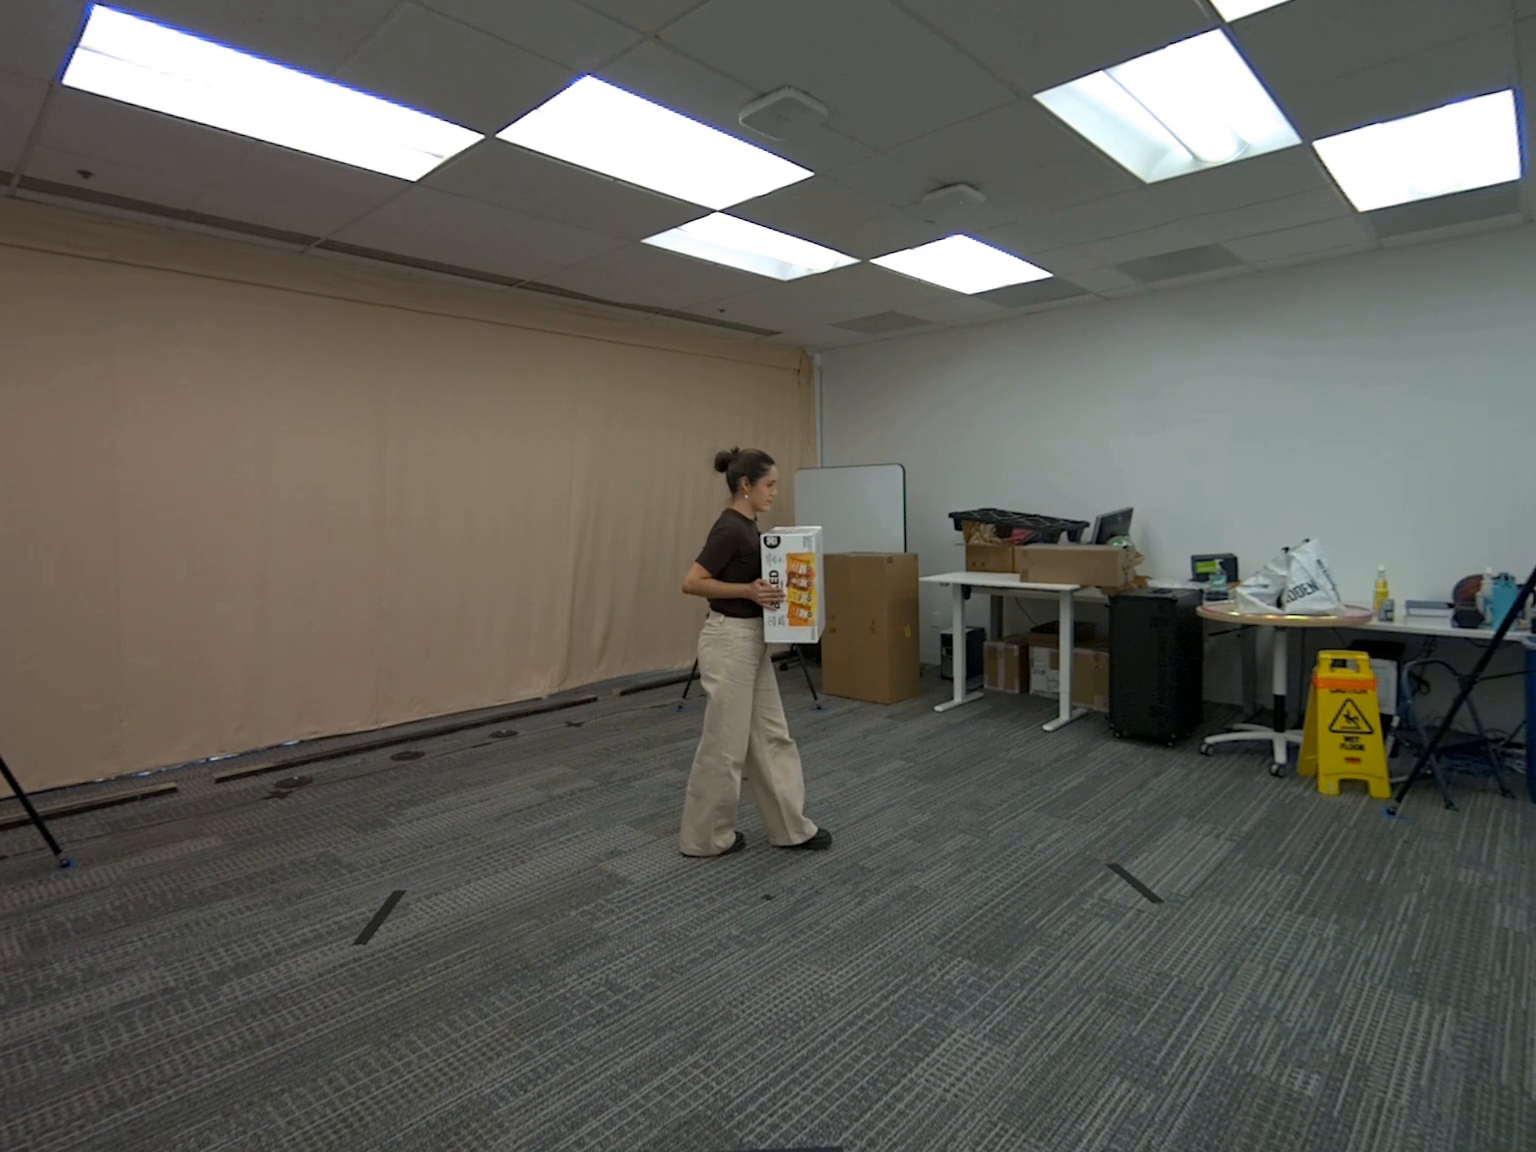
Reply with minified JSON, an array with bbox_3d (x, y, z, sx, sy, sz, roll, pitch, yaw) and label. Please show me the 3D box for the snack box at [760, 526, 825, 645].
[{"bbox_3d":[0.113,0.023,3.293,0.208,0.403,0.338,-1,6,10],"label":"snack box"}]
